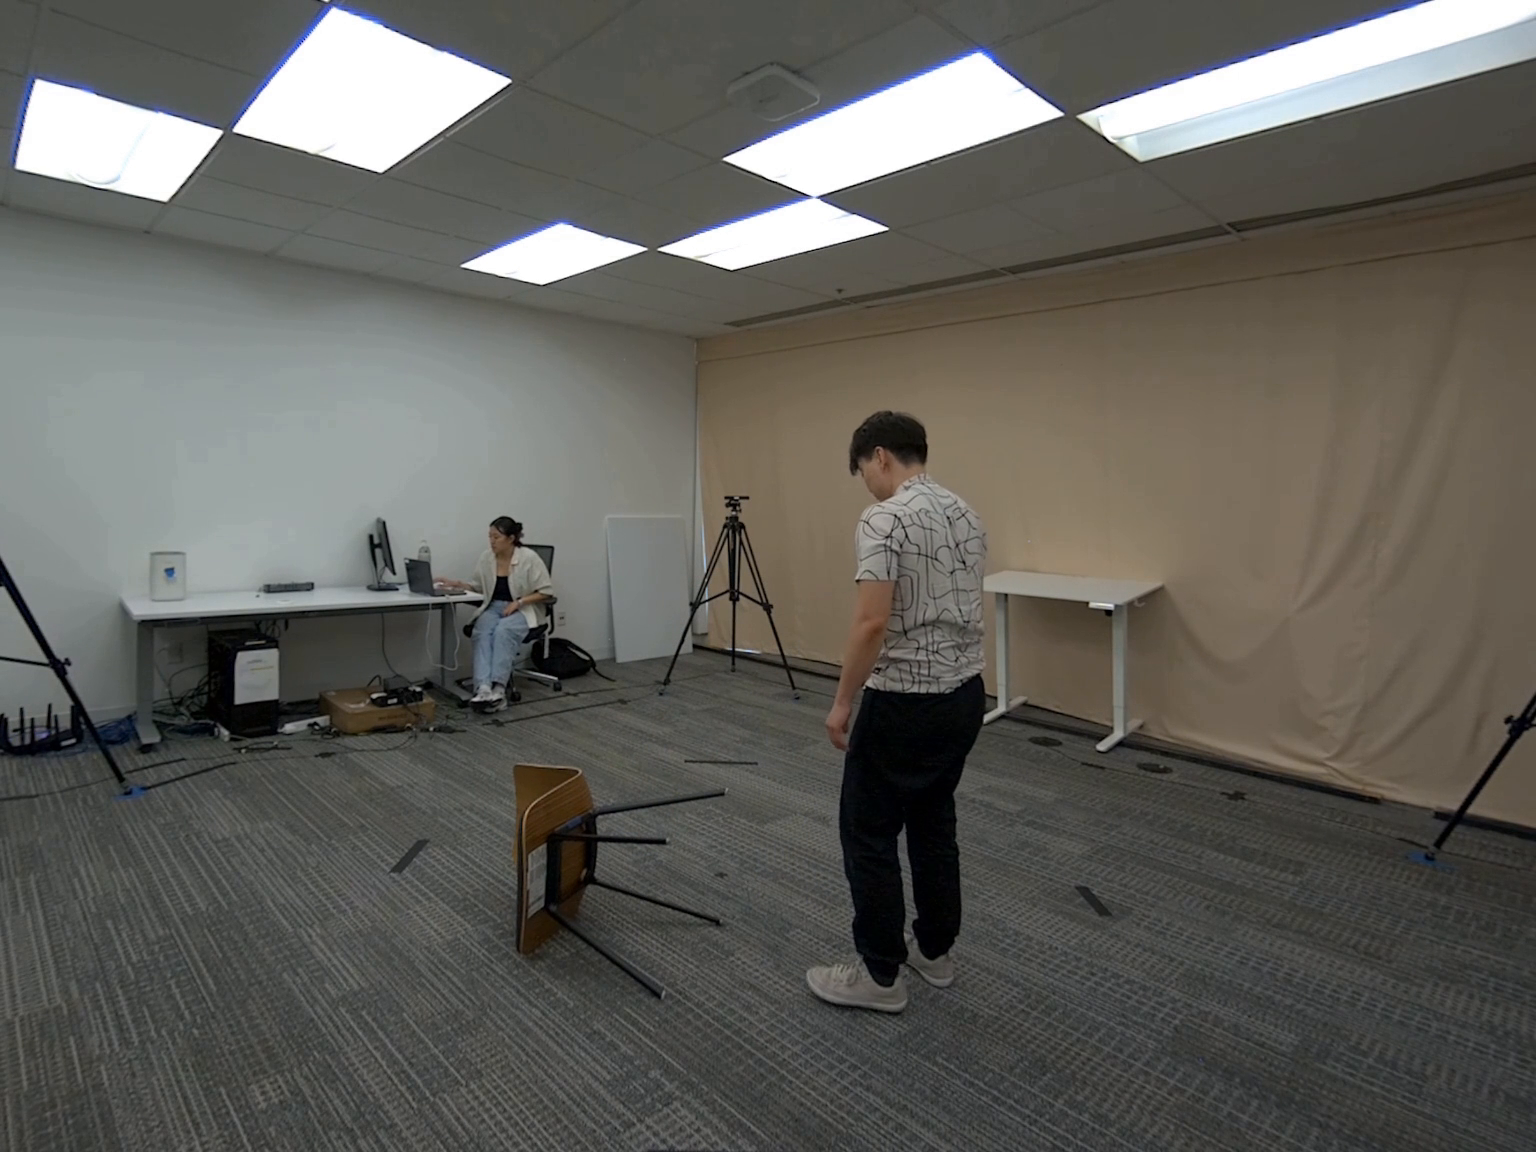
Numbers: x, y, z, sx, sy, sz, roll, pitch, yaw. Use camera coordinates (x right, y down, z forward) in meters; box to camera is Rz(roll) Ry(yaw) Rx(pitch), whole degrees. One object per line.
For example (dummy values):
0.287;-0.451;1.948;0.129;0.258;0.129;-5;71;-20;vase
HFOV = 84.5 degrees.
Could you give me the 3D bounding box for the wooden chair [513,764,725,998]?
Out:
-0.624;0.906;2.661;0.894;0.476;0.515;5;6;24;wooden chair
